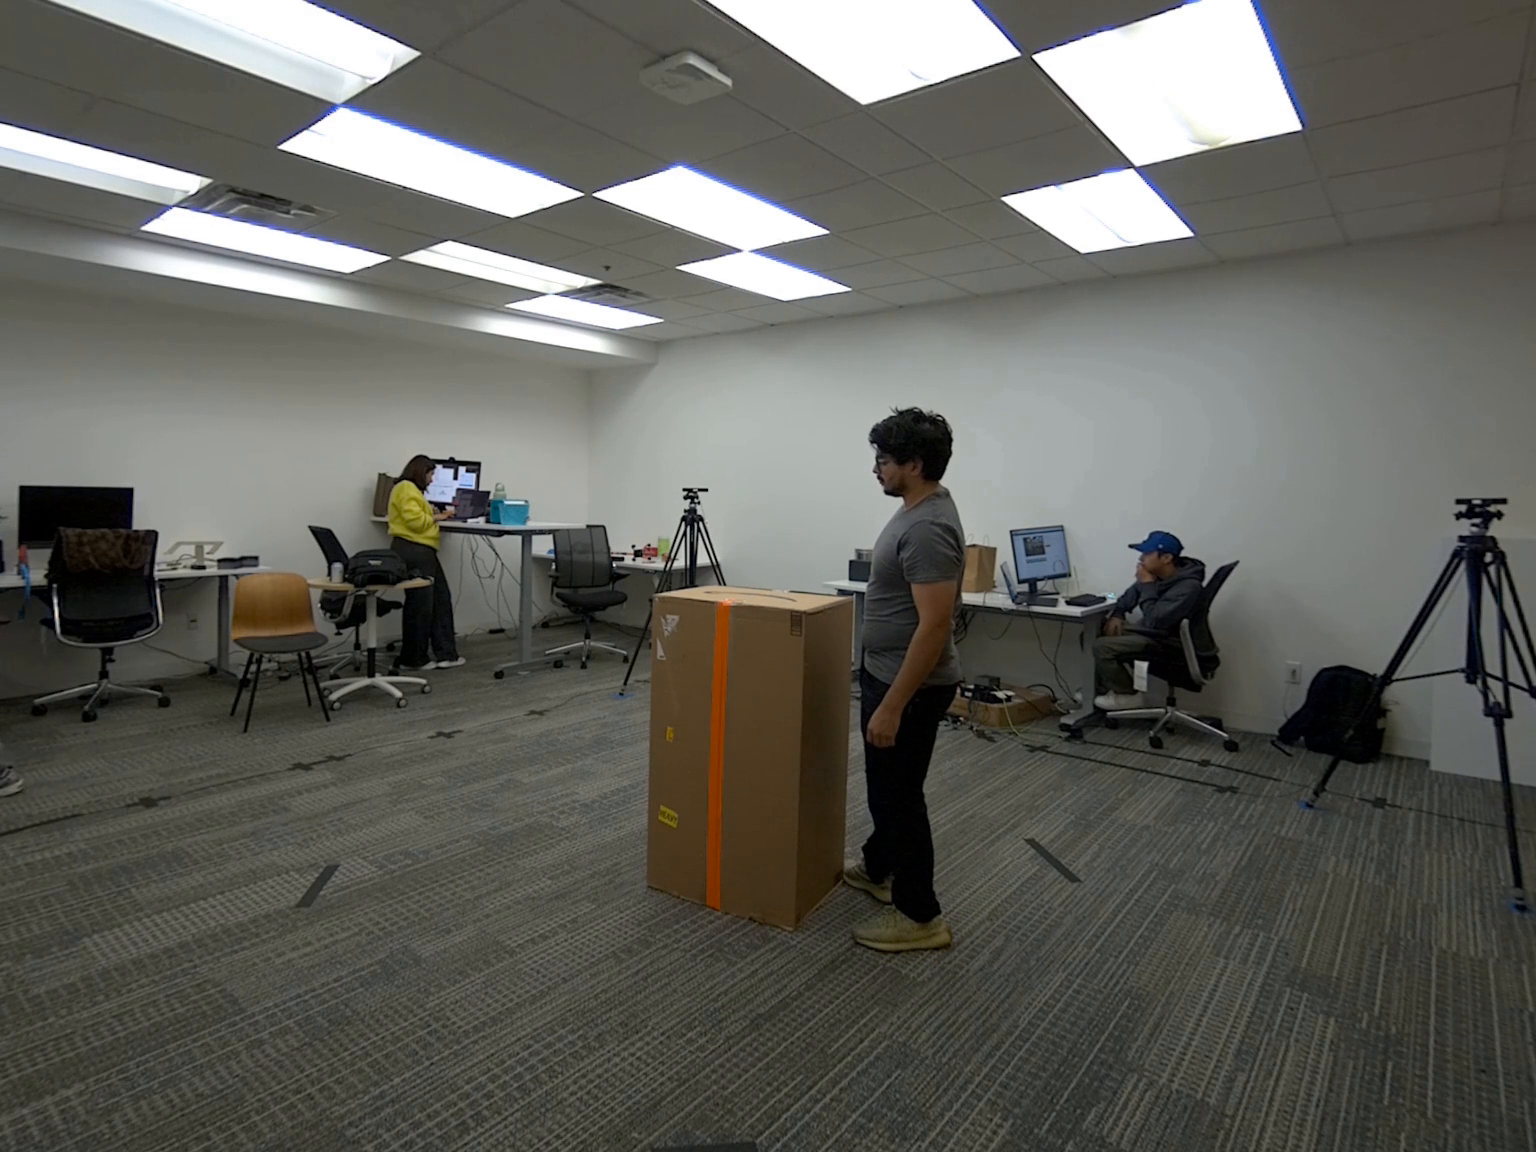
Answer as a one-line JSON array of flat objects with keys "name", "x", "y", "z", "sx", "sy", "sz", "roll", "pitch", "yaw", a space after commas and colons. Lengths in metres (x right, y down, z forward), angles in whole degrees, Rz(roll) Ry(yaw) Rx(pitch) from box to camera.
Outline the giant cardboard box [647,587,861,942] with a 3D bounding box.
[{"name": "giant cardboard box", "x": -0.074, "y": 0.581, "z": 2.973, "sx": 0.600, "sy": 1.025, "sz": 0.435, "roll": 3, "pitch": 3, "yaw": 28}]
